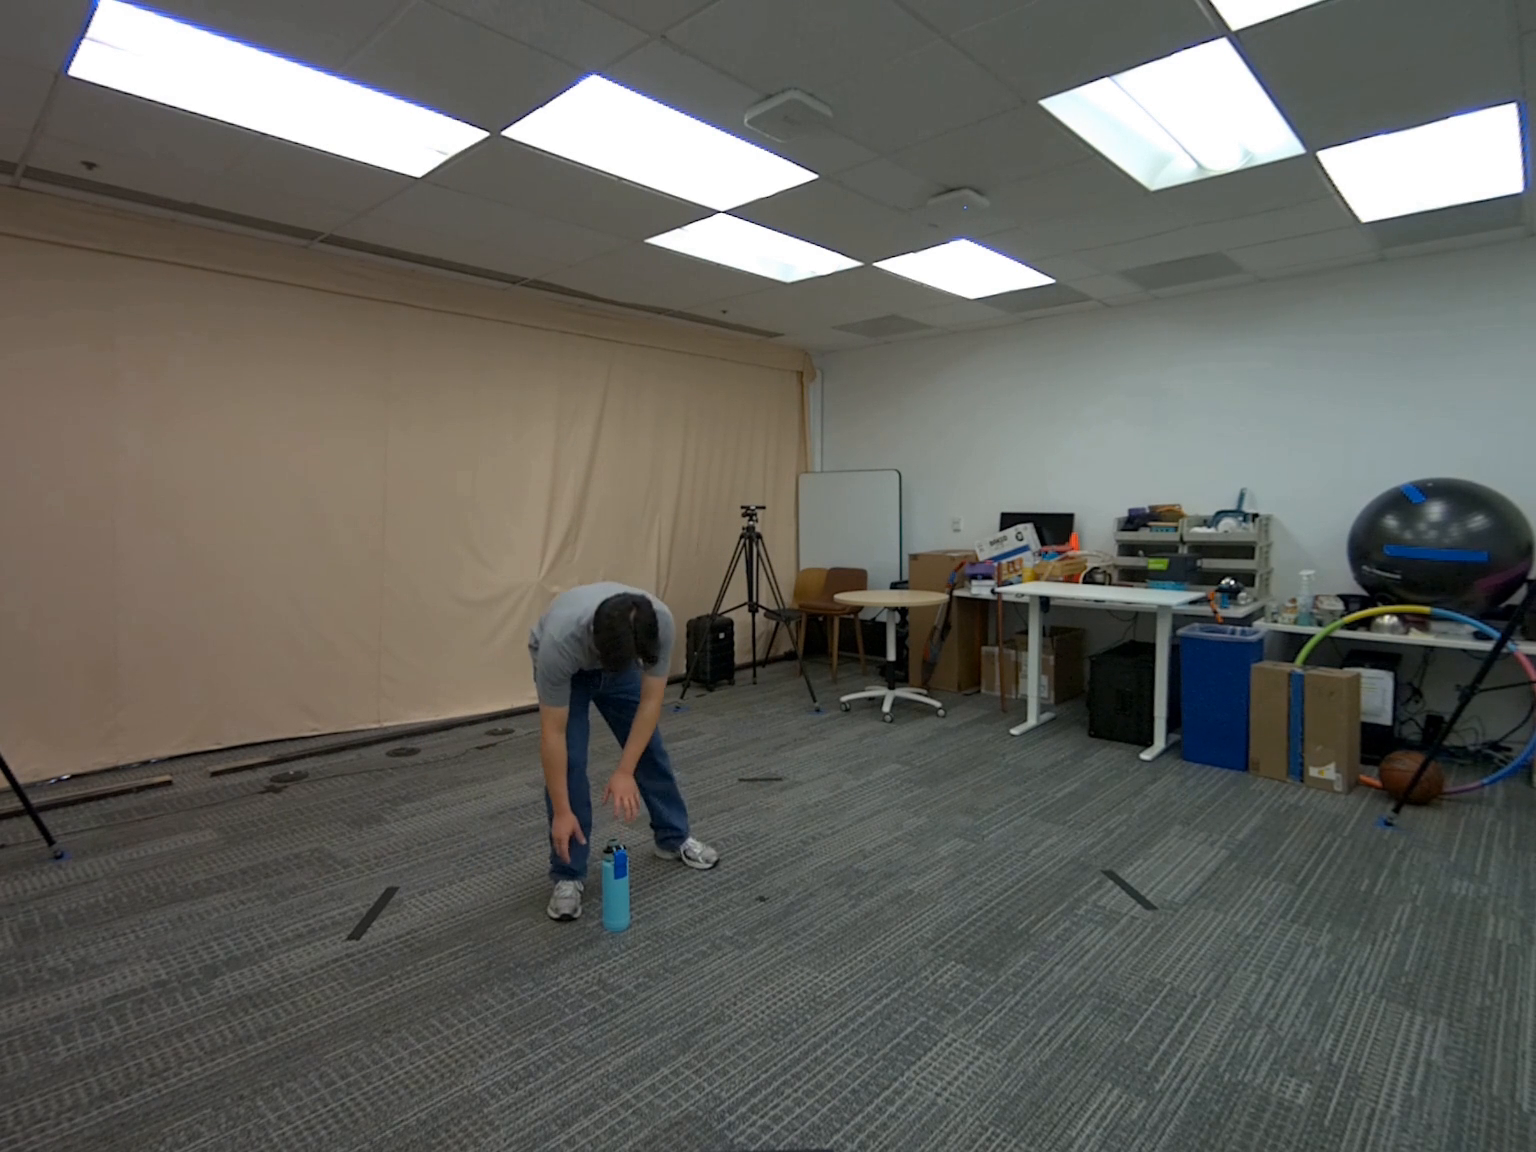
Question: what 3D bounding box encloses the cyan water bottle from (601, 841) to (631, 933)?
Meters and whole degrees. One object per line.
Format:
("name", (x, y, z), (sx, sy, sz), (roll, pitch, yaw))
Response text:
("cyan water bottle", (-0.509, 1.019, 2.797), (0.092, 0.283, 0.092), (0, 3, -2))
